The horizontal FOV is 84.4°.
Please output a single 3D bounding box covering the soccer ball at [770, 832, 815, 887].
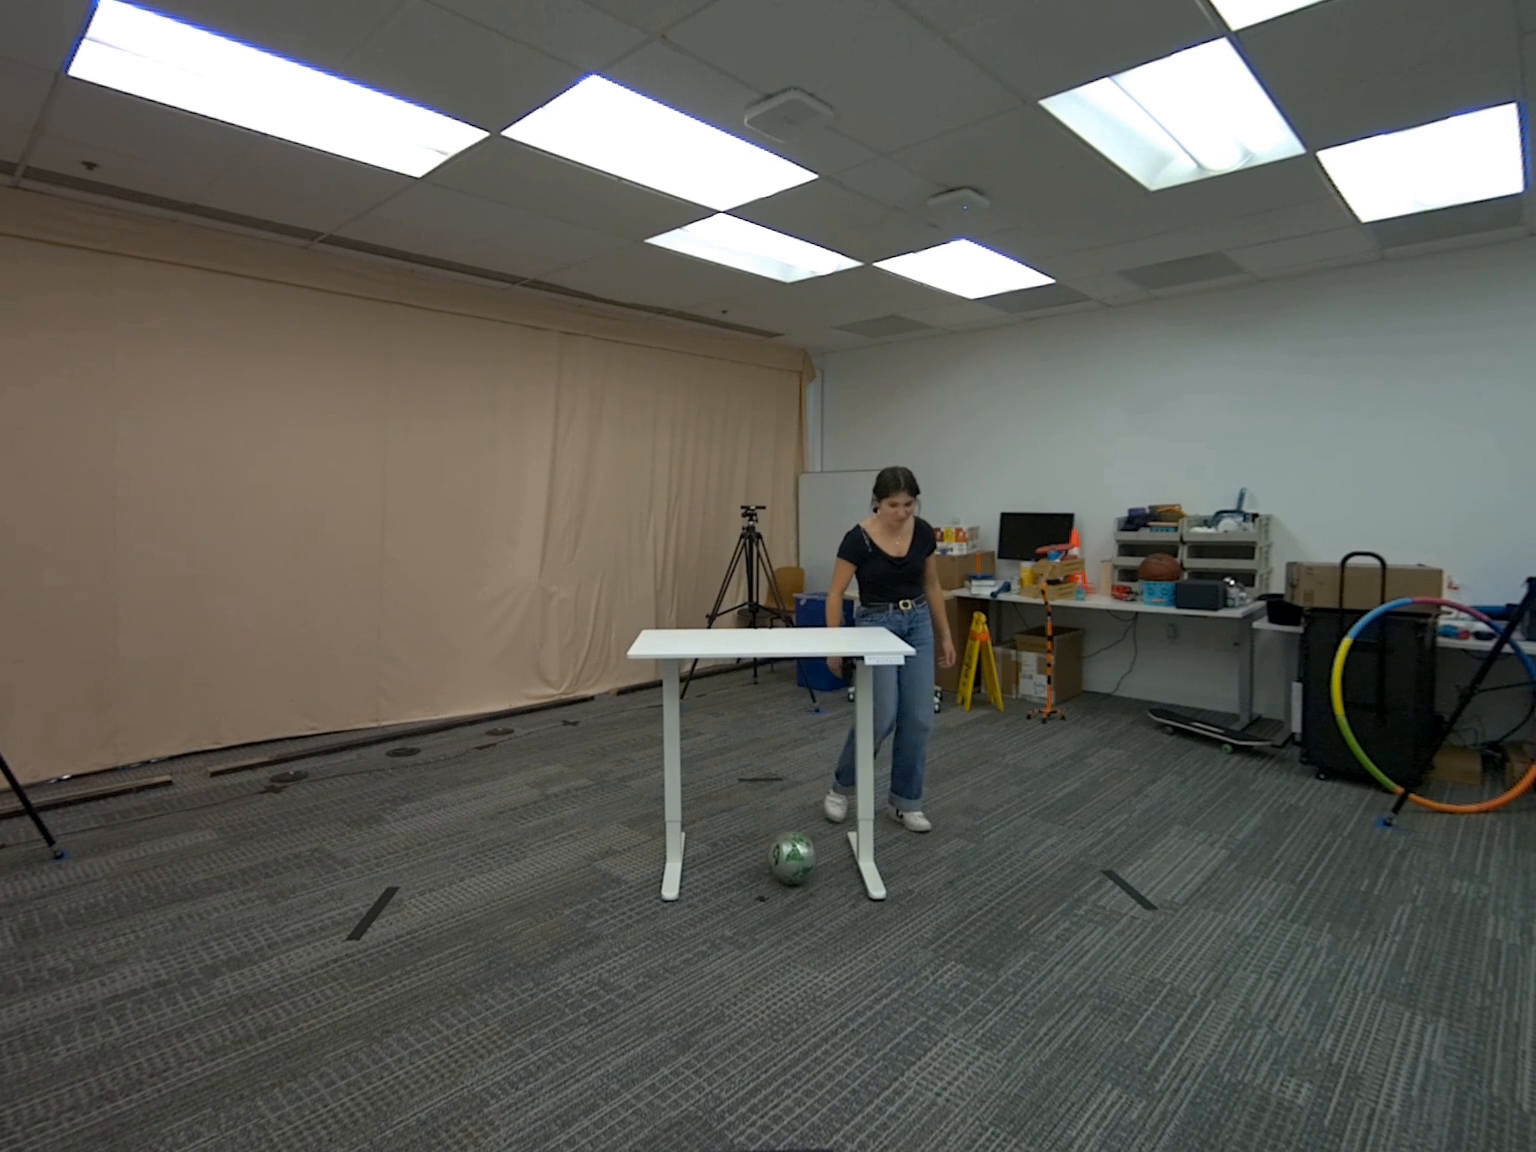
[{"bbox_3d":[0.093,1.042,3.101,0.187,0.187,0.188,0,4,-2],"label":"soccer ball"}]
